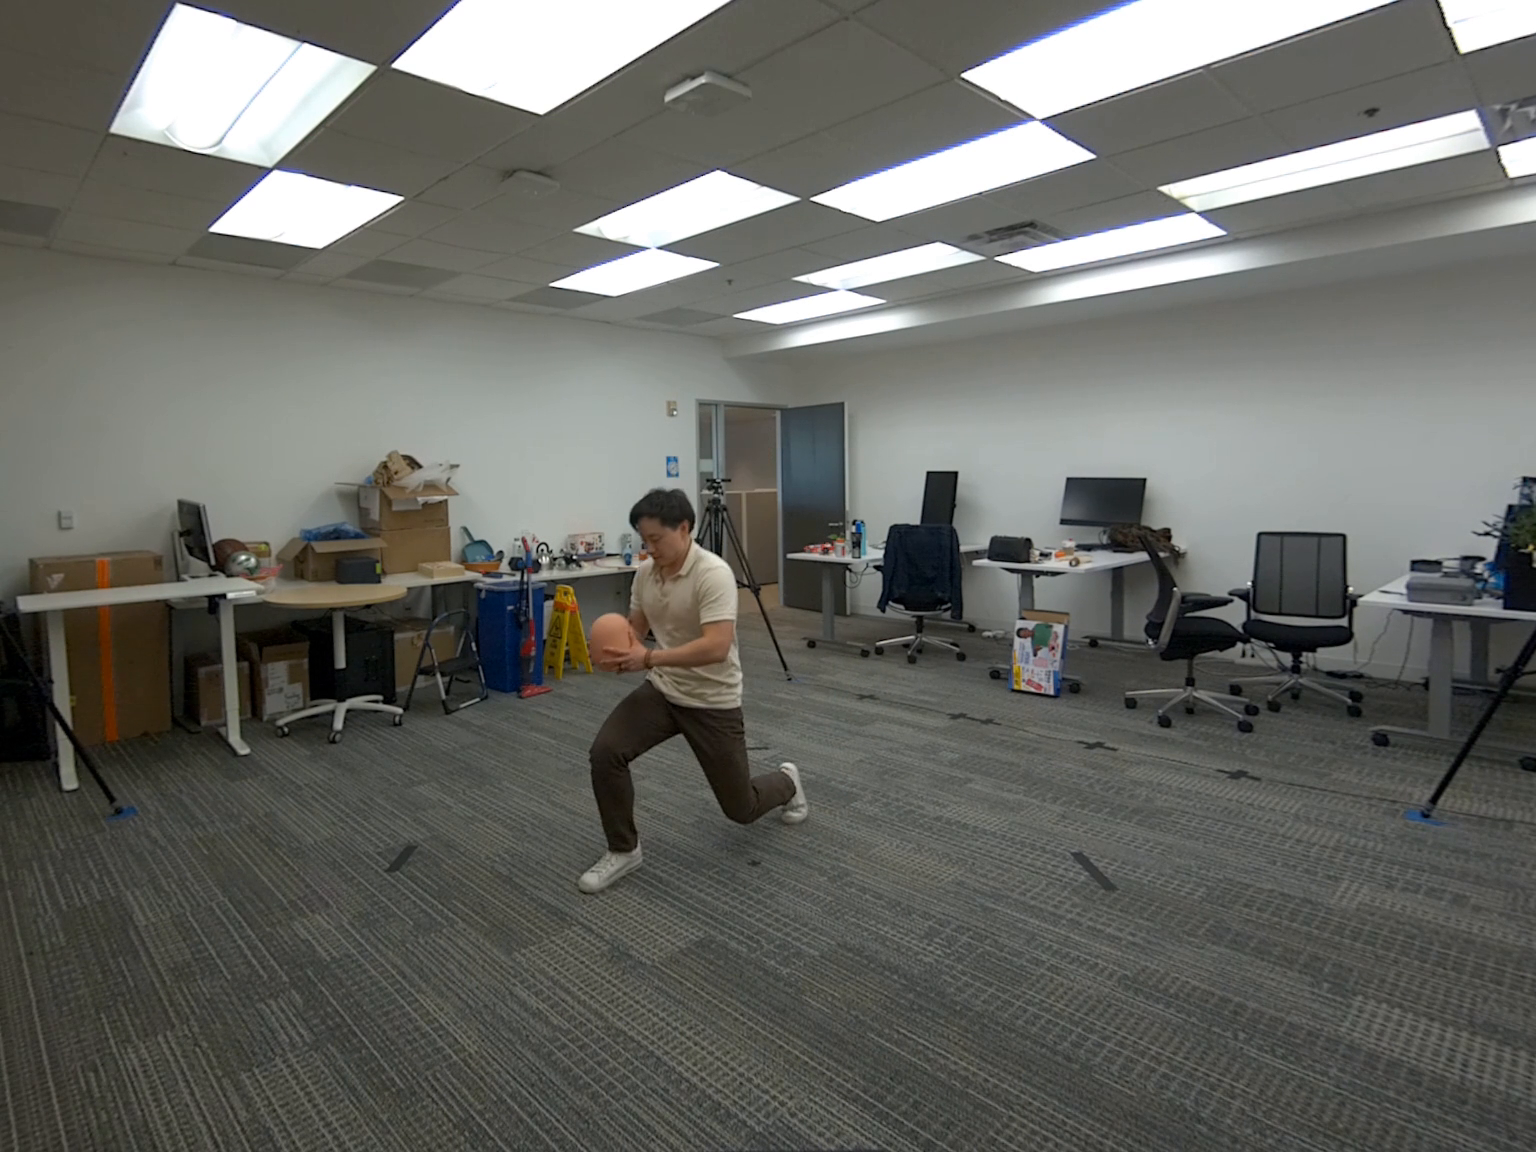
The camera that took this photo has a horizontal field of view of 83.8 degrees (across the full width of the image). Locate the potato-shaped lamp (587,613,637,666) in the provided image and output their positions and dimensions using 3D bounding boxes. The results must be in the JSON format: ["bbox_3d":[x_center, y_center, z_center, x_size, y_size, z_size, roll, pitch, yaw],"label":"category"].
[{"bbox_3d":[-0.526,0.225,3.003,0.169,0.195,0.169,-24,14,-33],"label":"potato-shaped lamp"}]
